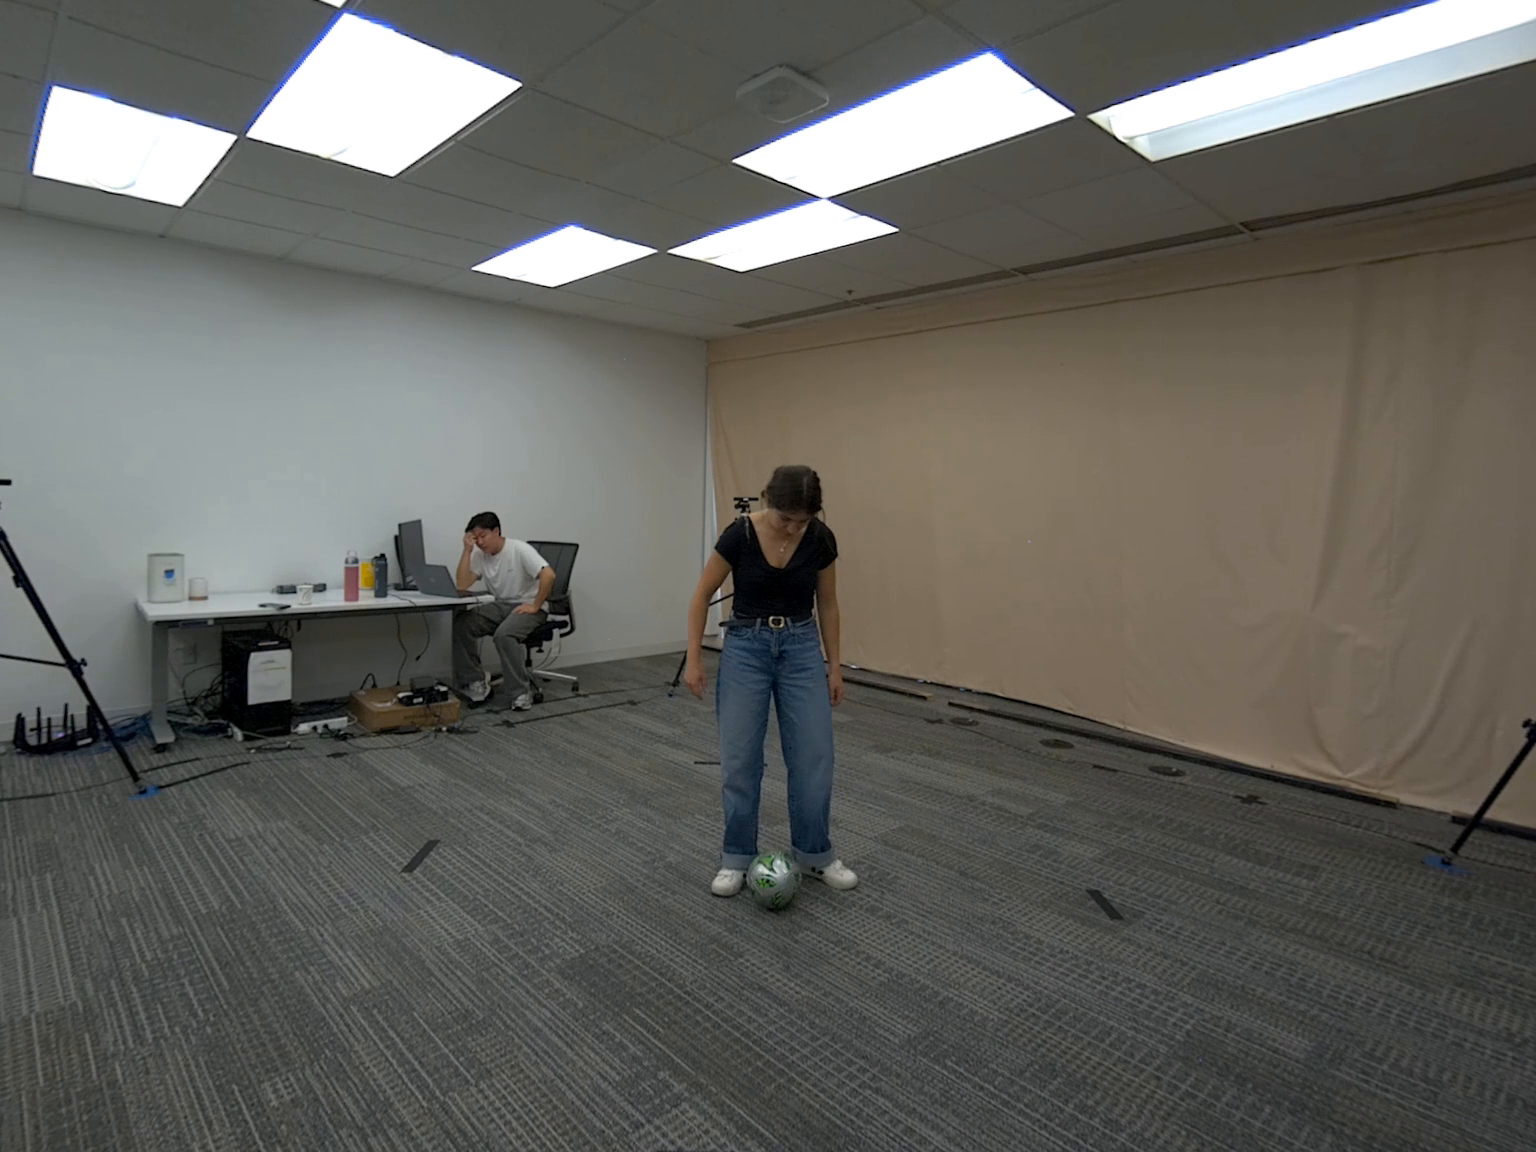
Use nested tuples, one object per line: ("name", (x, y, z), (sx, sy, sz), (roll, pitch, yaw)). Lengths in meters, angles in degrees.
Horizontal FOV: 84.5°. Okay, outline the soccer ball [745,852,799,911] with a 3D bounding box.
("soccer ball", (0.009, 1.040, 2.870), (0.187, 0.187, 0.188), (1, 4, -1))
